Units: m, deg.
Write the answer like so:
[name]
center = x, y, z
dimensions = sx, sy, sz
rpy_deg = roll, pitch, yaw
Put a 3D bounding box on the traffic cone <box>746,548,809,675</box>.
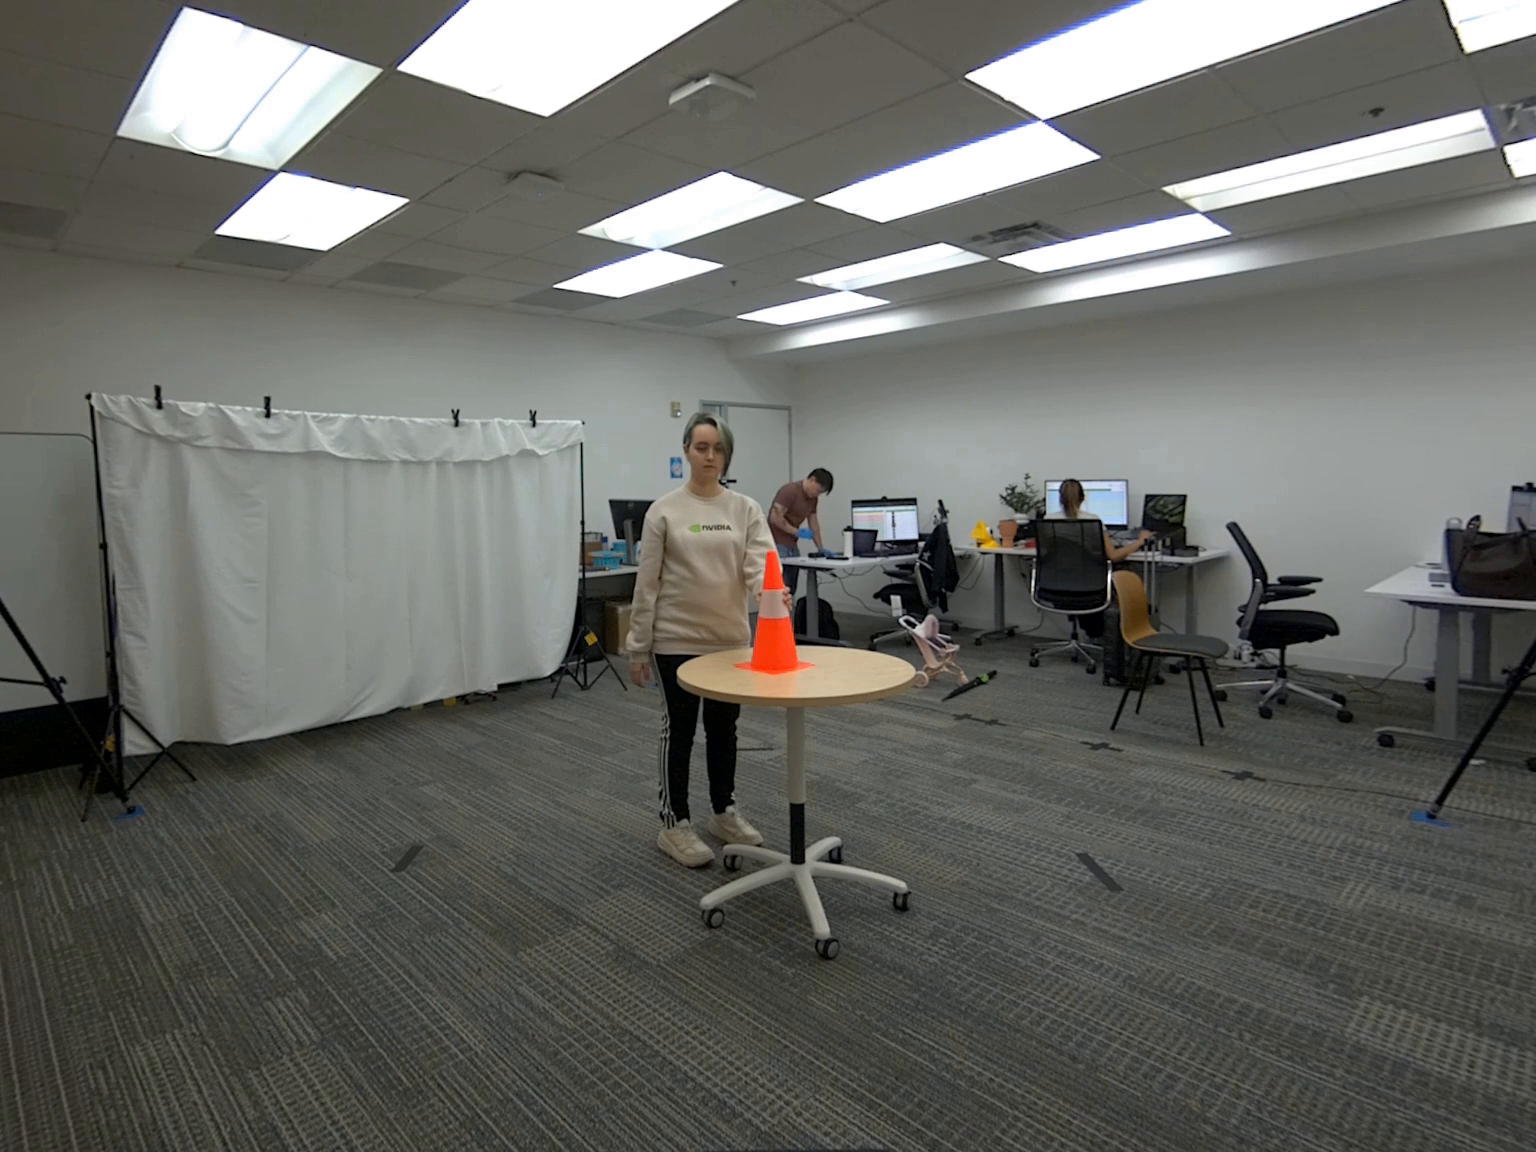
[traffic cone]
center = 0.021, 0.111, 2.798
dimensions = 0.209, 0.382, 0.200
rpy_deg = 2, 4, 38
